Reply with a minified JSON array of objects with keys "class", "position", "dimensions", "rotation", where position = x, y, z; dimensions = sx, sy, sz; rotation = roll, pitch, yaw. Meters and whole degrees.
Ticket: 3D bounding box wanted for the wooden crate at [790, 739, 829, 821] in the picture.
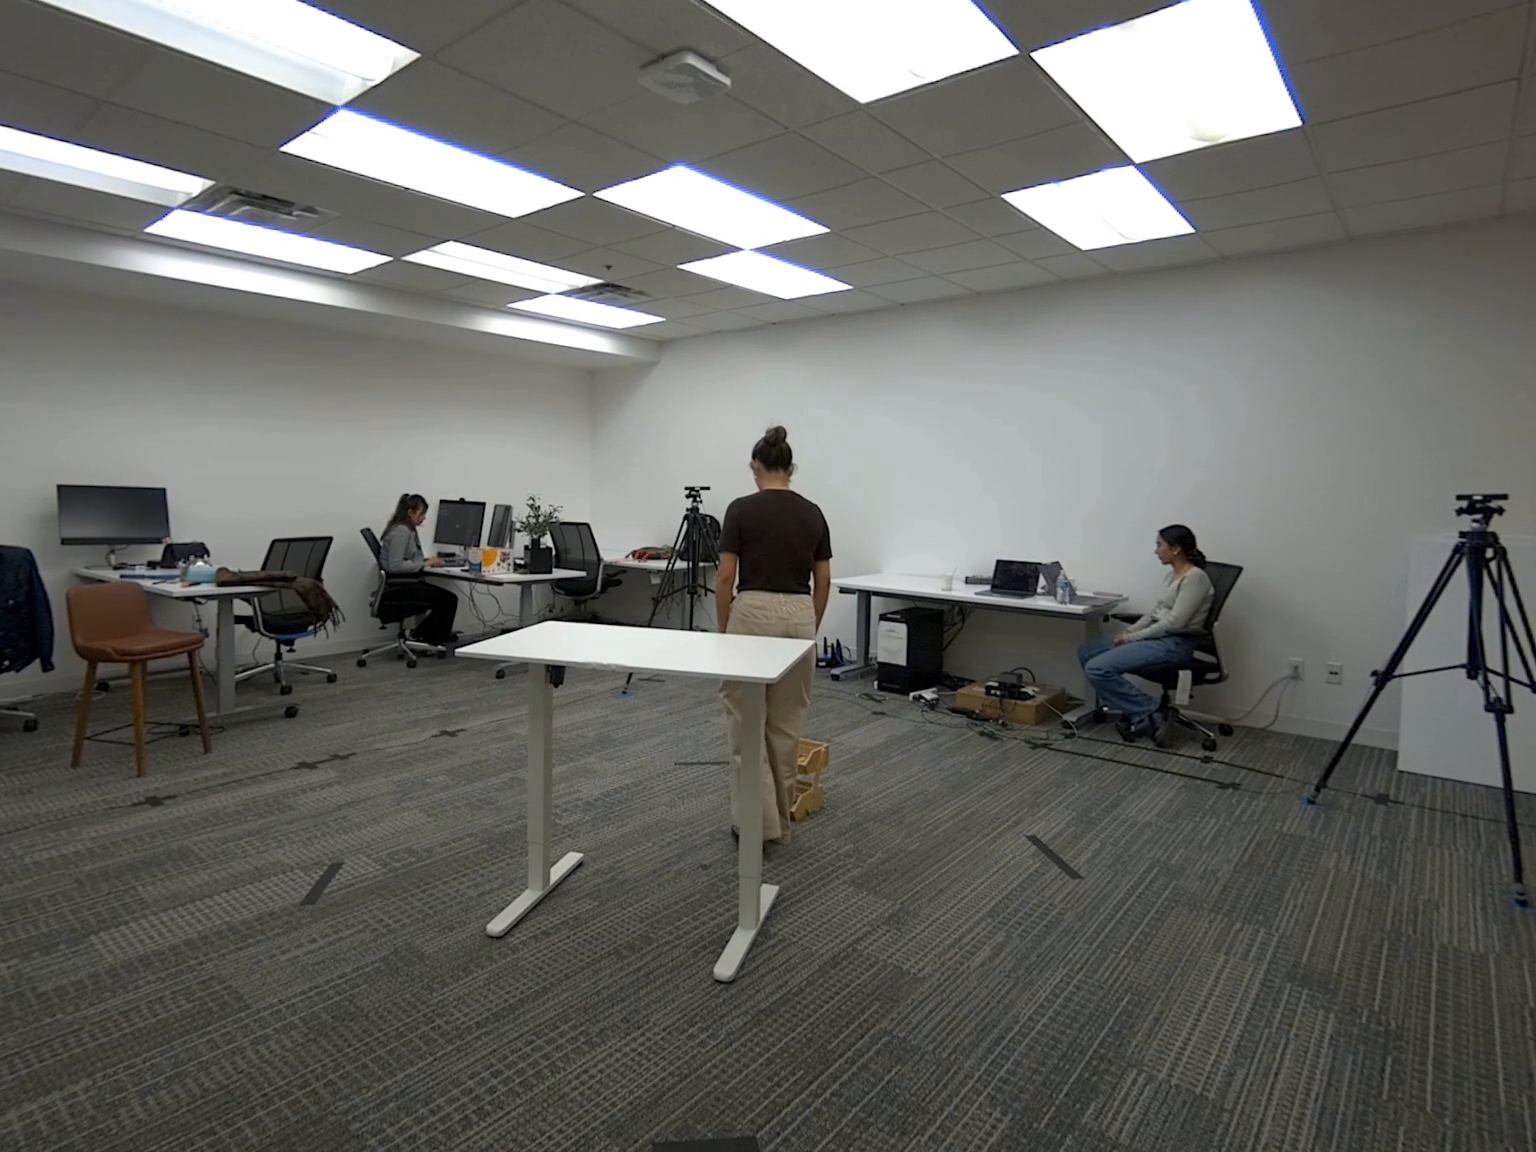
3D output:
[{"class":"wooden crate","position":[0.059,0.870,3.754],"dimensions":[0.335,0.272,0.293],"rotation":[4,5,33]}]
